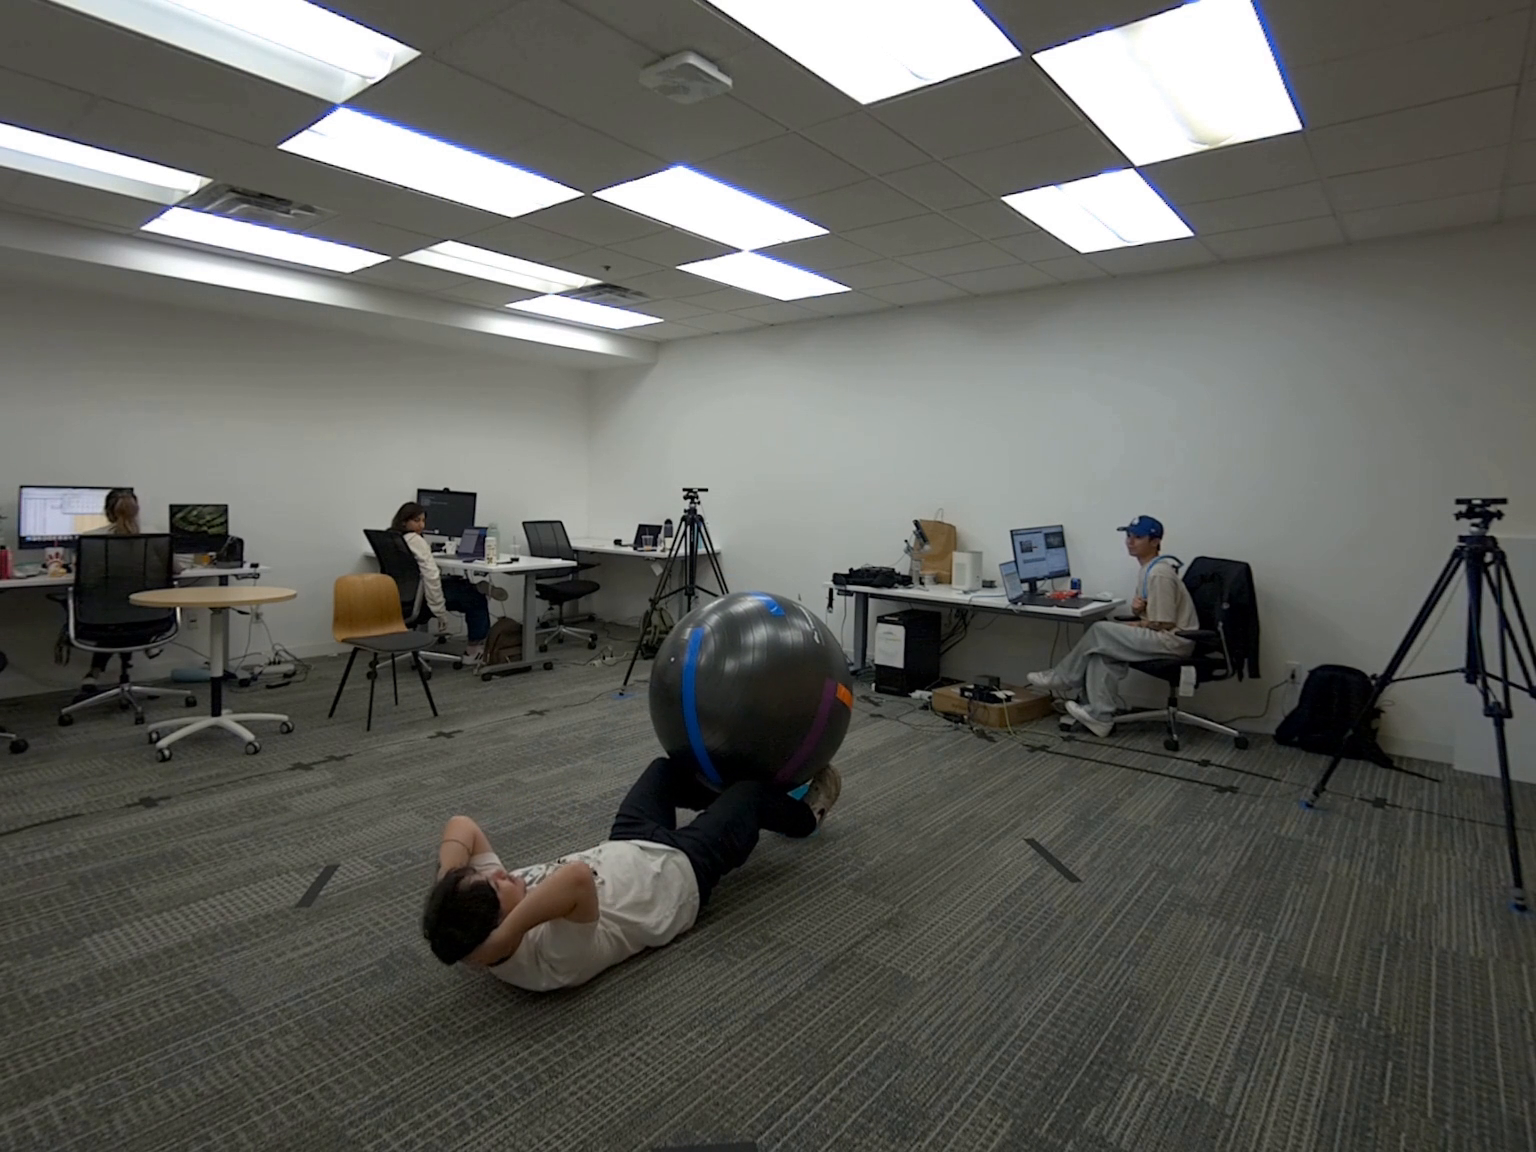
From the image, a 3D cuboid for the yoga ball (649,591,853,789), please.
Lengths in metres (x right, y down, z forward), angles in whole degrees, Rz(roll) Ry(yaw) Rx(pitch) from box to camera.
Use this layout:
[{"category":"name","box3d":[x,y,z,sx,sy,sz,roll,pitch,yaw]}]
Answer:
[{"category":"yoga ball","box3d":[-0.076,0.428,3.173,0.757,0.755,0.762,1,4,-2]}]
